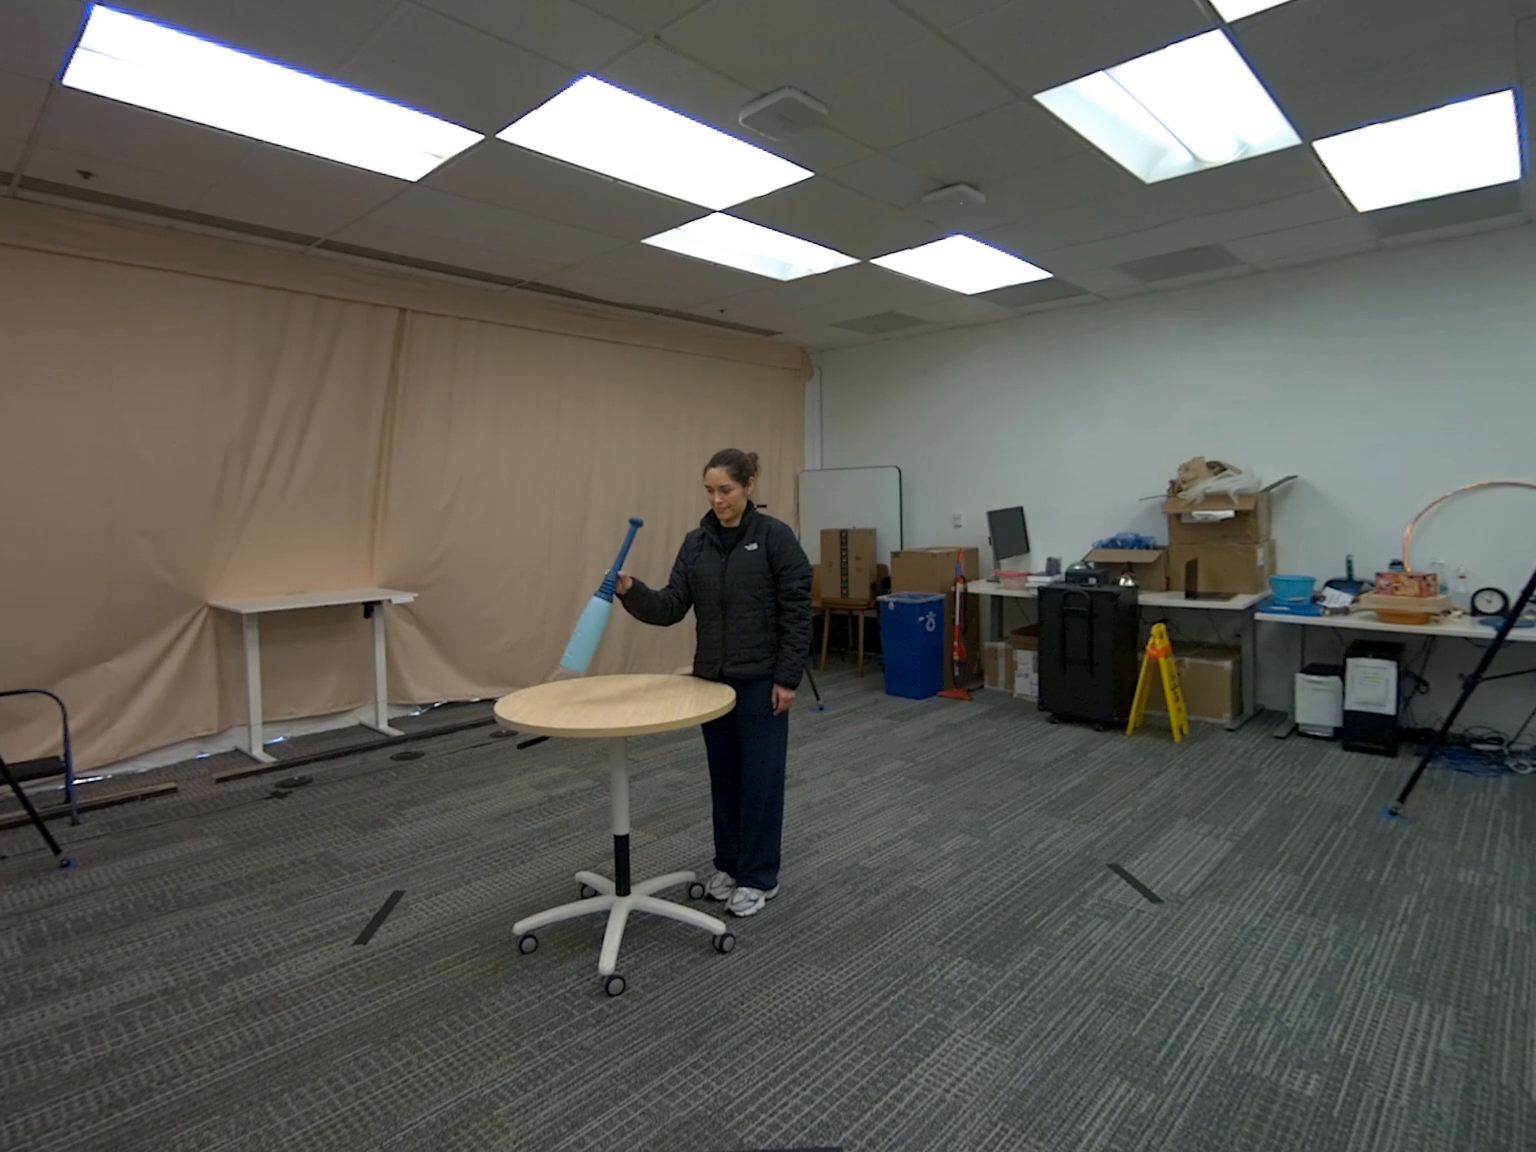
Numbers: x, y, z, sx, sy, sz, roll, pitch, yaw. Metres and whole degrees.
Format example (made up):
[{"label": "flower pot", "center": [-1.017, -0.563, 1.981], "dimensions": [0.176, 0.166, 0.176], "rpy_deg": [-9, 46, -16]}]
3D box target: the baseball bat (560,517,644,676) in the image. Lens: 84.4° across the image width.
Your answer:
[{"label": "baseball bat", "center": [-0.499, 0.047, 2.710], "dimensions": [0.089, 0.544, 0.088], "rpy_deg": [21, -10, 2]}]
